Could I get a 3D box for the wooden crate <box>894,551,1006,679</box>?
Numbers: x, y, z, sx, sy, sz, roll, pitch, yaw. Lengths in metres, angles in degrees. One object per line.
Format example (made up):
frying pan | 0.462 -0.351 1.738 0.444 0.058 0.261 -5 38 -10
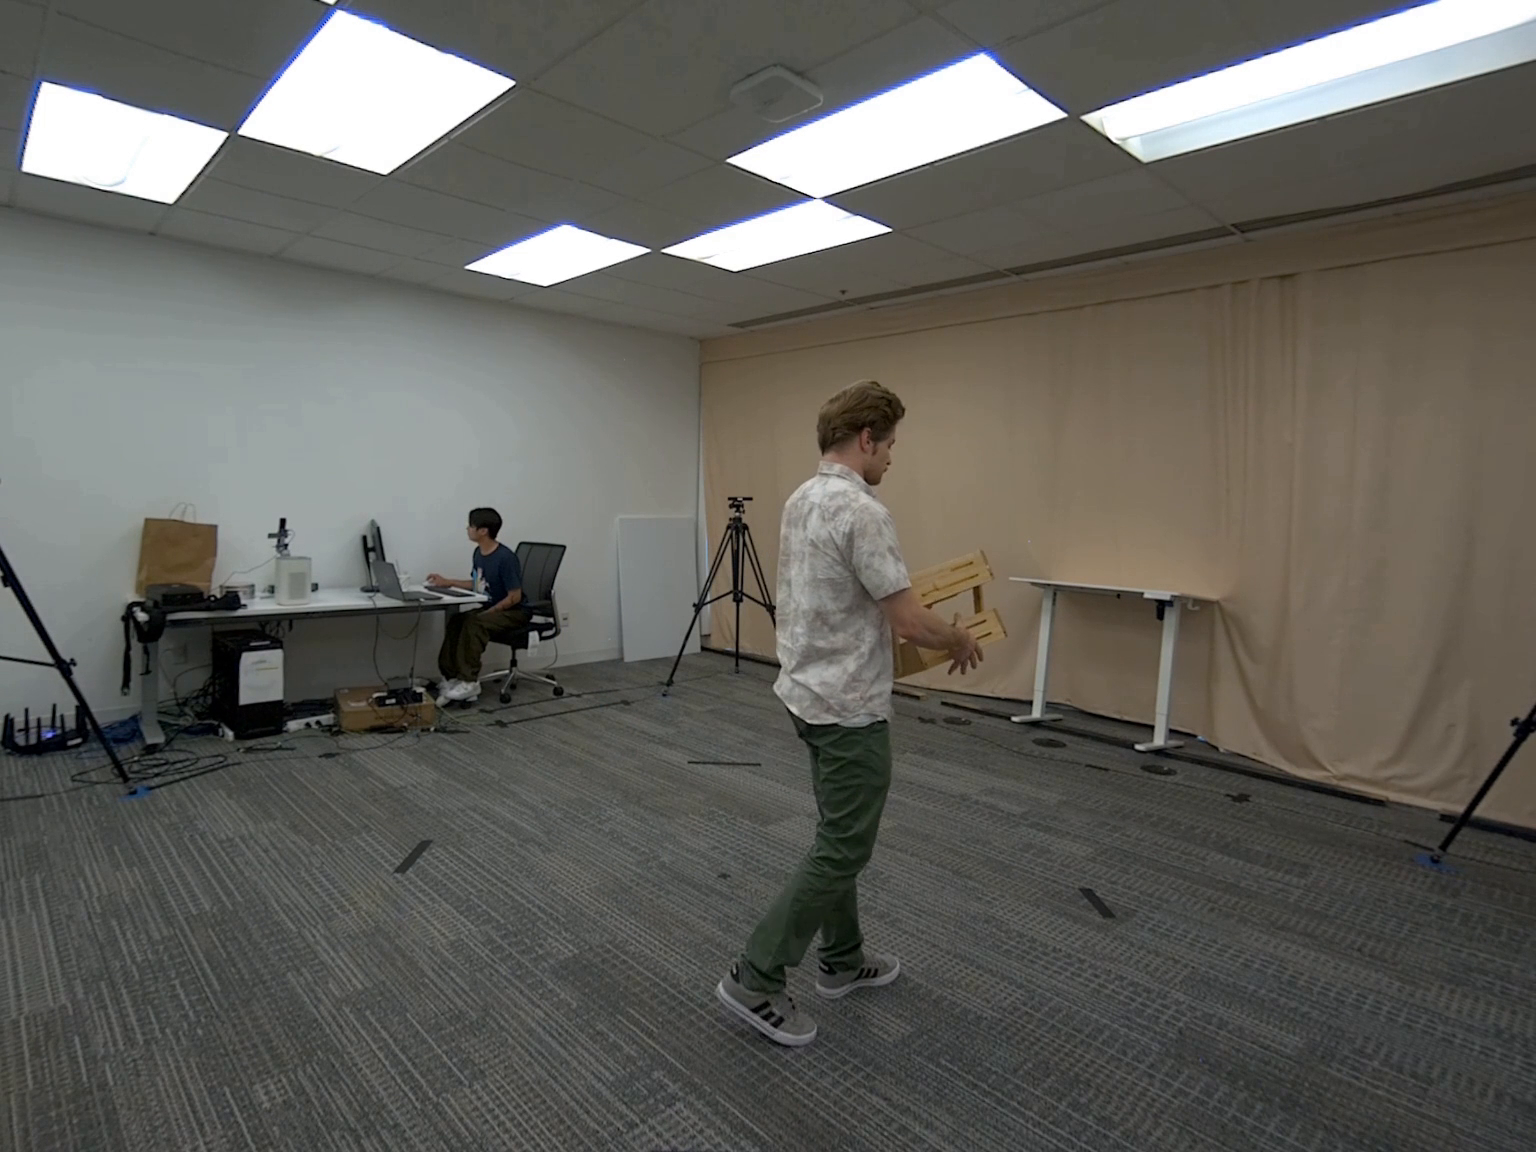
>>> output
wooden crate | 0.482 0.119 2.493 0.320 0.276 0.303 -18 -9 -24
